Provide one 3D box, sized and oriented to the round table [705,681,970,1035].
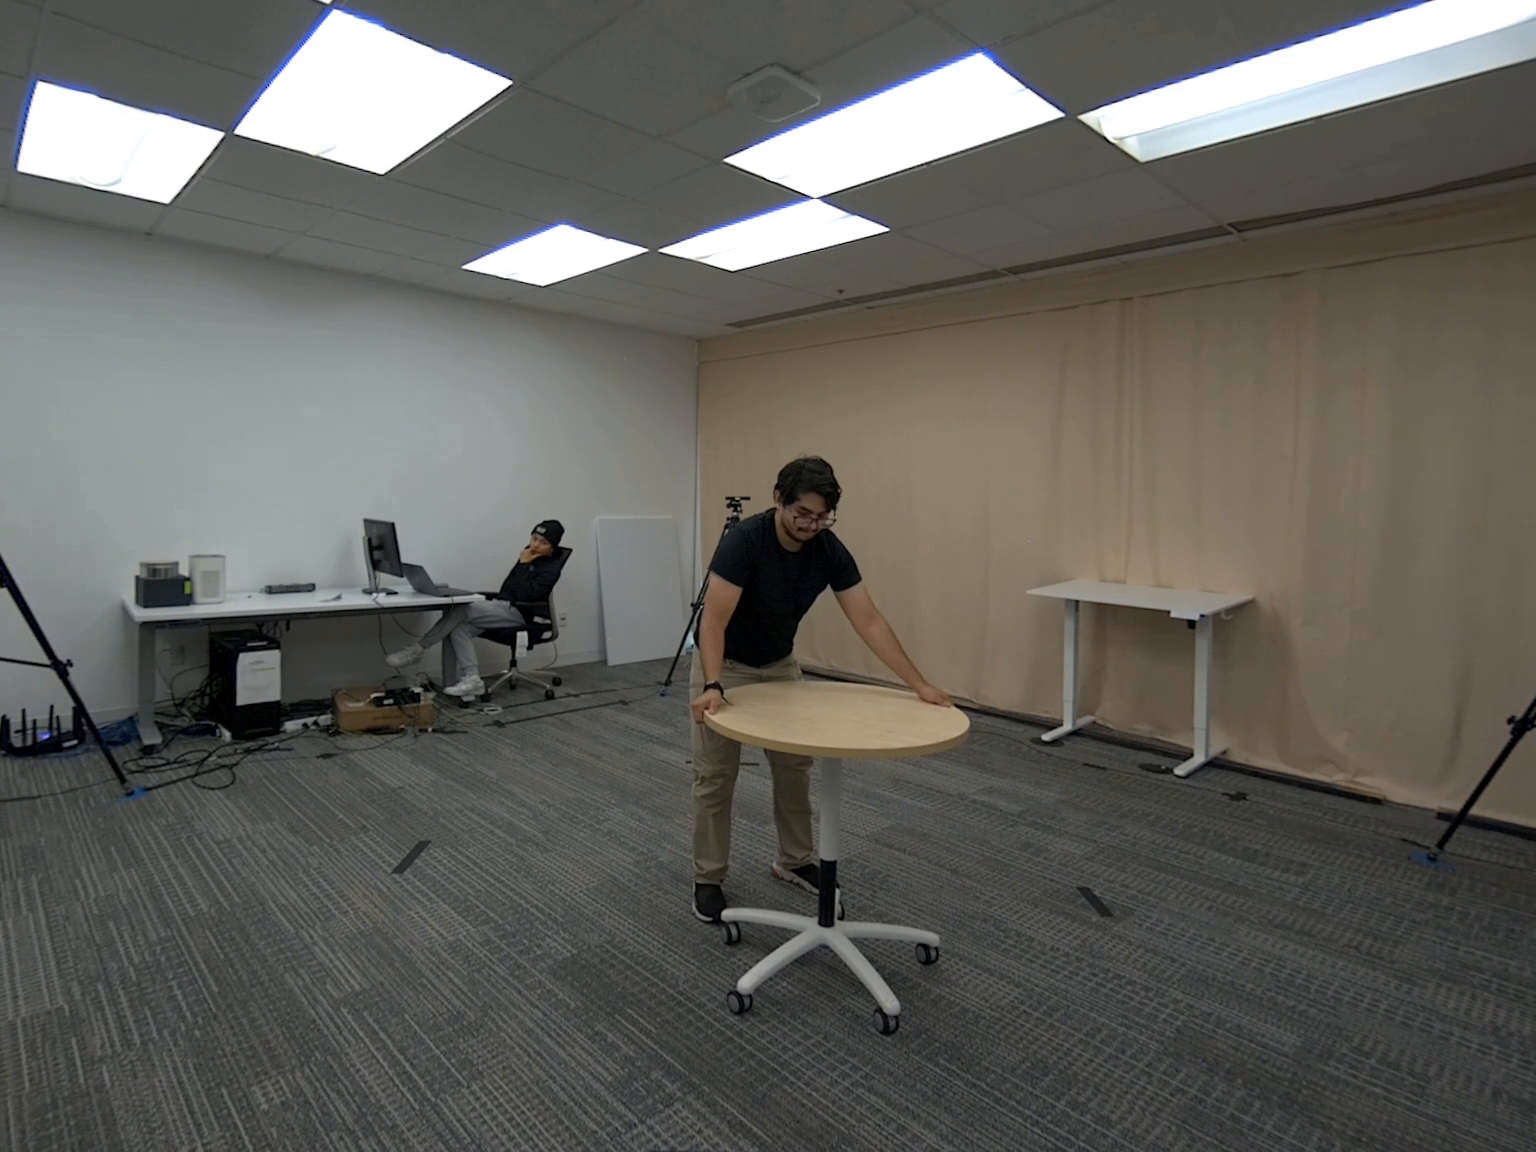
[{"bbox_3d":[0.158,0.779,2.467,0.784,0.784,0.788,2,4,-2],"label":"round table"}]
